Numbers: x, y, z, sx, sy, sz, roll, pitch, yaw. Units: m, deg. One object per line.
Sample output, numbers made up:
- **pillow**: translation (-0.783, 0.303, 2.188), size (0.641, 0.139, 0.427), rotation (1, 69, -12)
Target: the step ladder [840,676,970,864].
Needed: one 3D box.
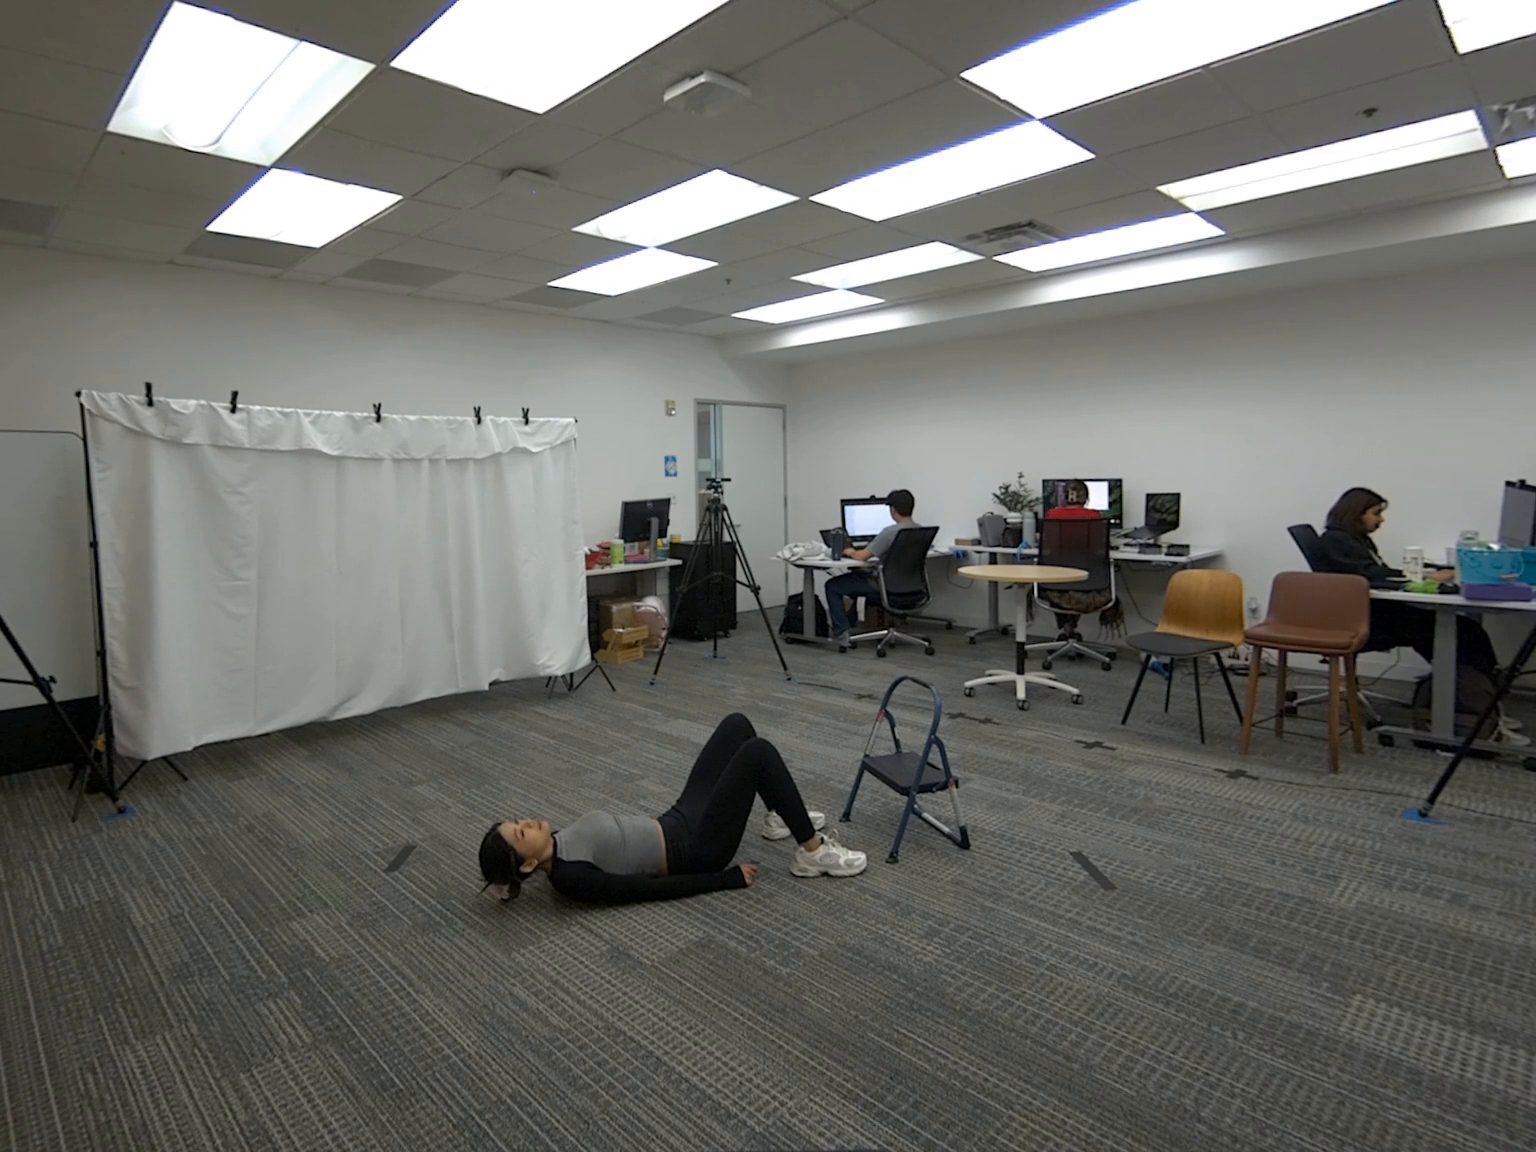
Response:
- **step ladder**: translation (0.523, 0.709, 3.315), size (0.343, 0.604, 0.439), rotation (-2, 4, -19)
